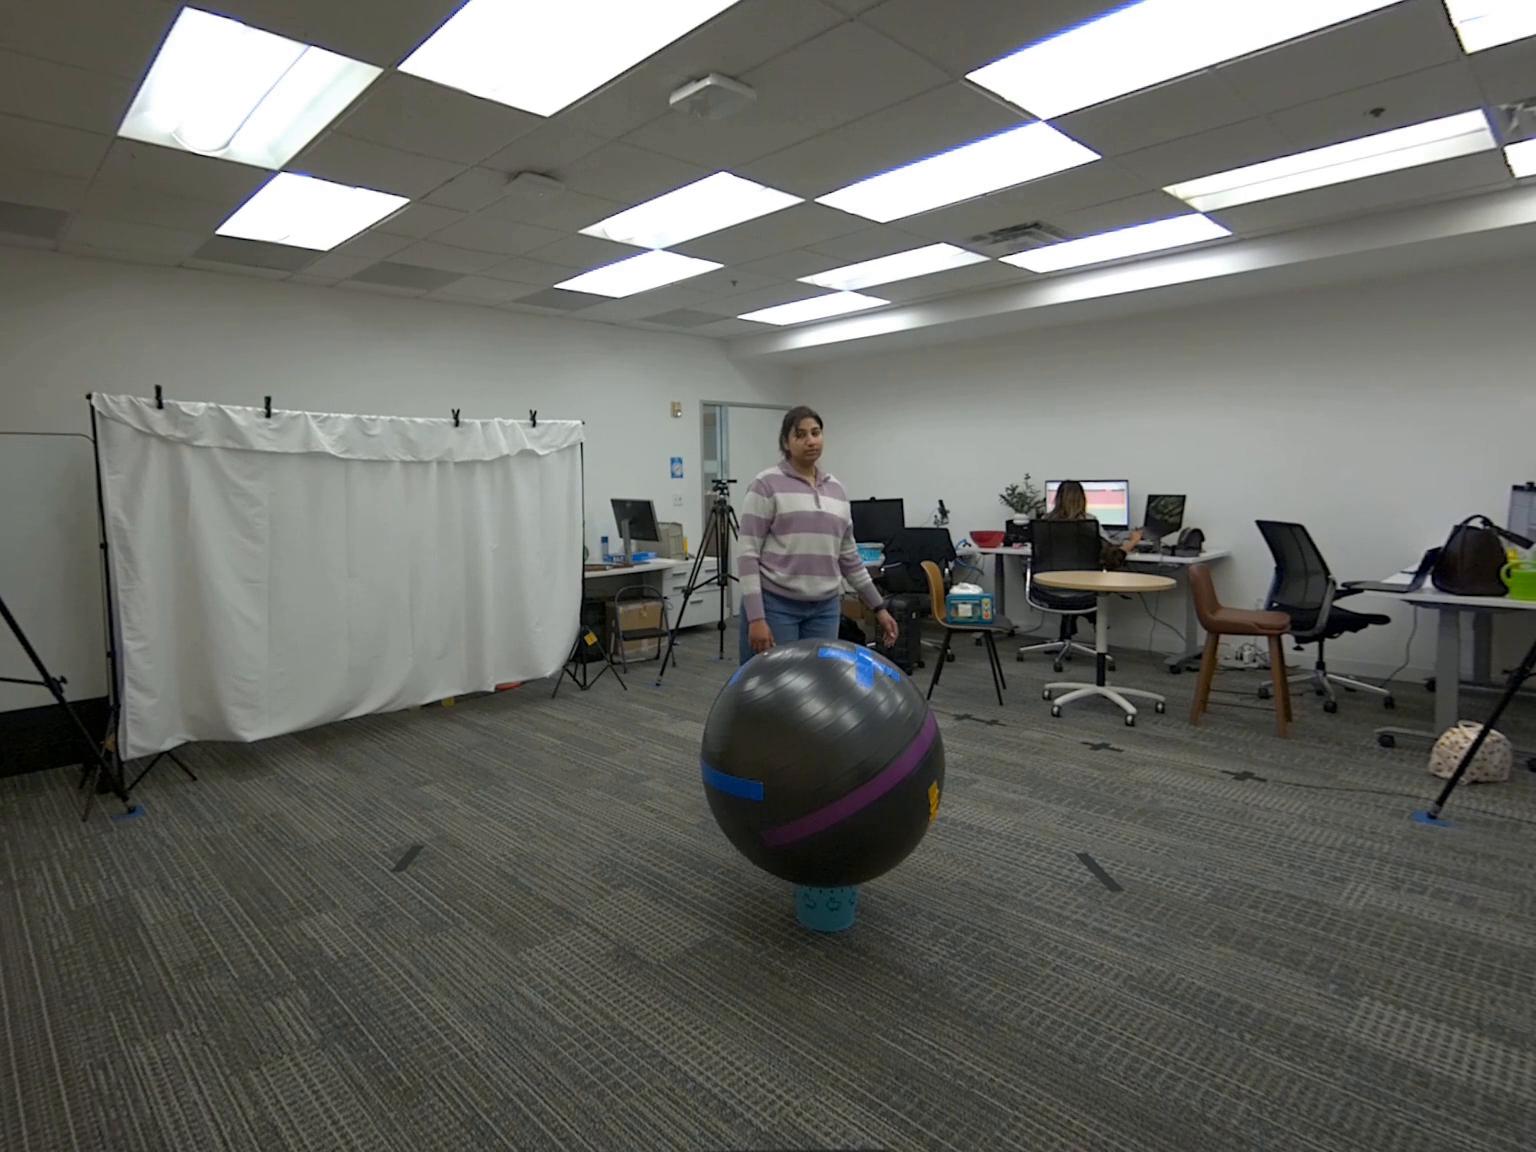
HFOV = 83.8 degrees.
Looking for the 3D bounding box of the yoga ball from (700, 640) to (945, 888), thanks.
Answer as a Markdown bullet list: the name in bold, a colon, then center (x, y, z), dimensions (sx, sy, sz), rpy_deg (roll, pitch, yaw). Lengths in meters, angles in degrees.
- **yoga ball**: center (0.166, 0.587, 2.691), dimensions (0.757, 0.755, 0.762), rpy_deg (-1, 5, -2)
